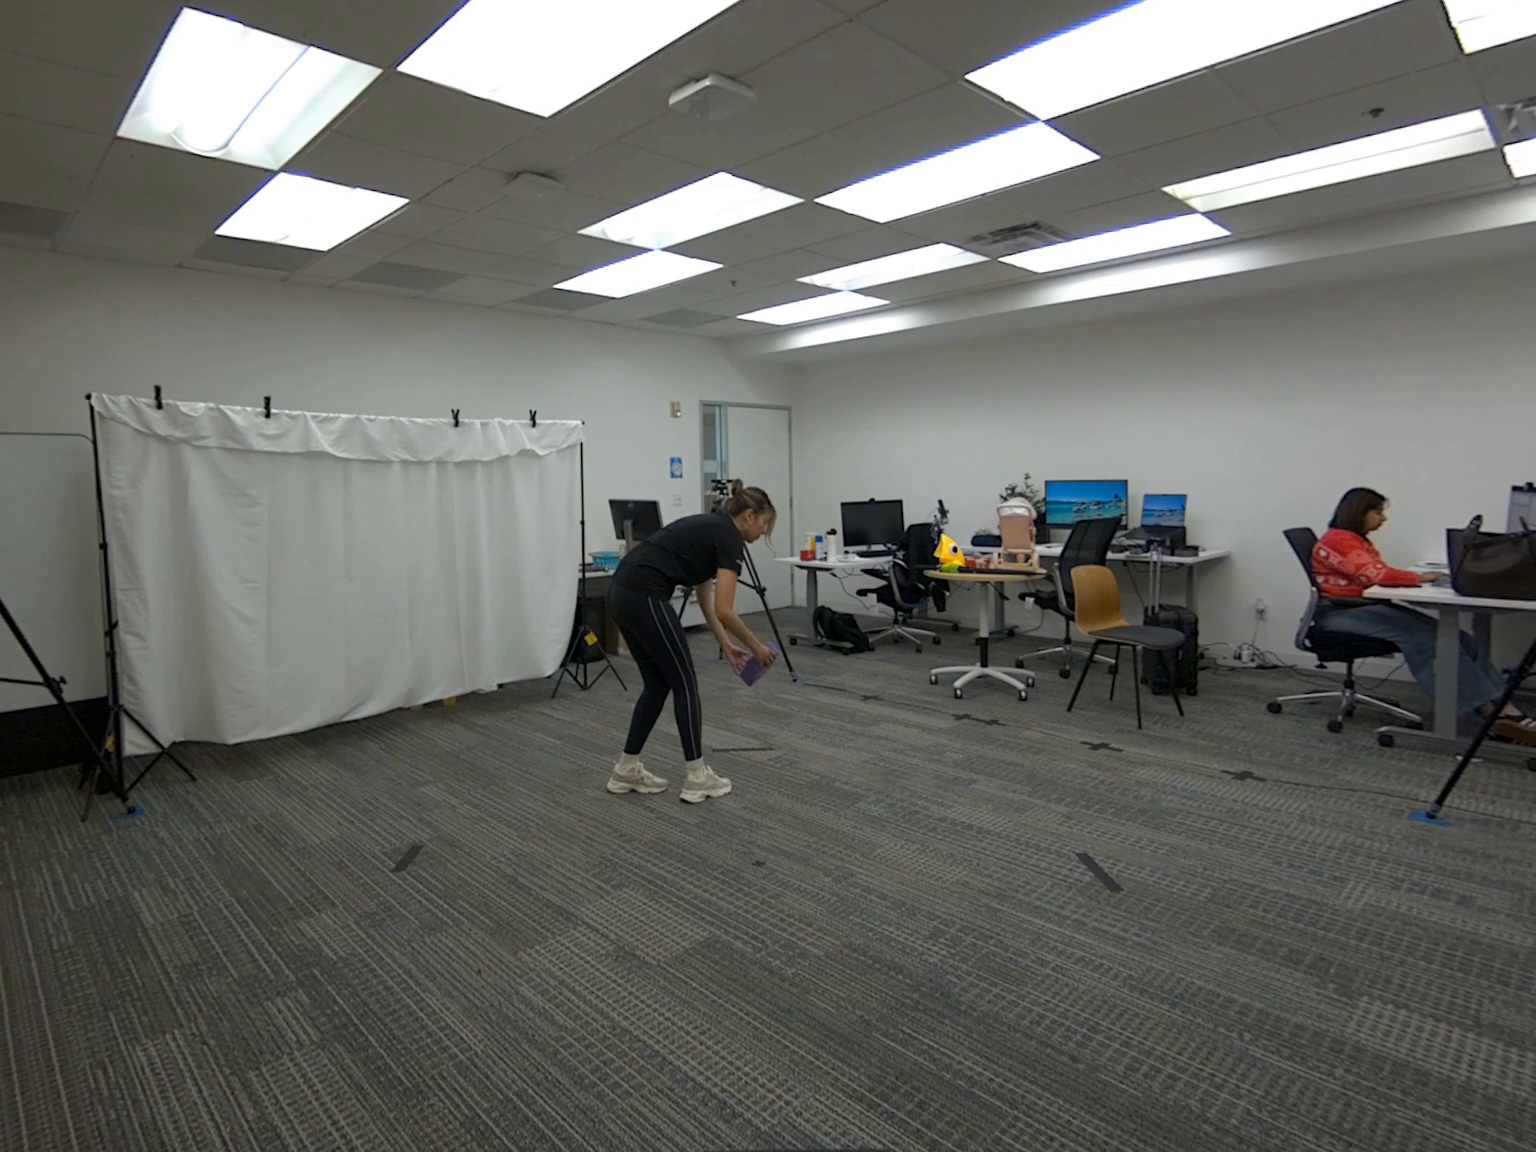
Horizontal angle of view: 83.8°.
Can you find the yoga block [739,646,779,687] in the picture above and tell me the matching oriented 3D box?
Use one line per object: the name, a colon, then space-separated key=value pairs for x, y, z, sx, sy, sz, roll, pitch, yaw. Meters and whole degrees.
yoga block: x=-0.051 y=0.412 z=3.956 sx=0.148 sy=0.078 sz=0.226 roll=-40 pitch=-14 yaw=-26
